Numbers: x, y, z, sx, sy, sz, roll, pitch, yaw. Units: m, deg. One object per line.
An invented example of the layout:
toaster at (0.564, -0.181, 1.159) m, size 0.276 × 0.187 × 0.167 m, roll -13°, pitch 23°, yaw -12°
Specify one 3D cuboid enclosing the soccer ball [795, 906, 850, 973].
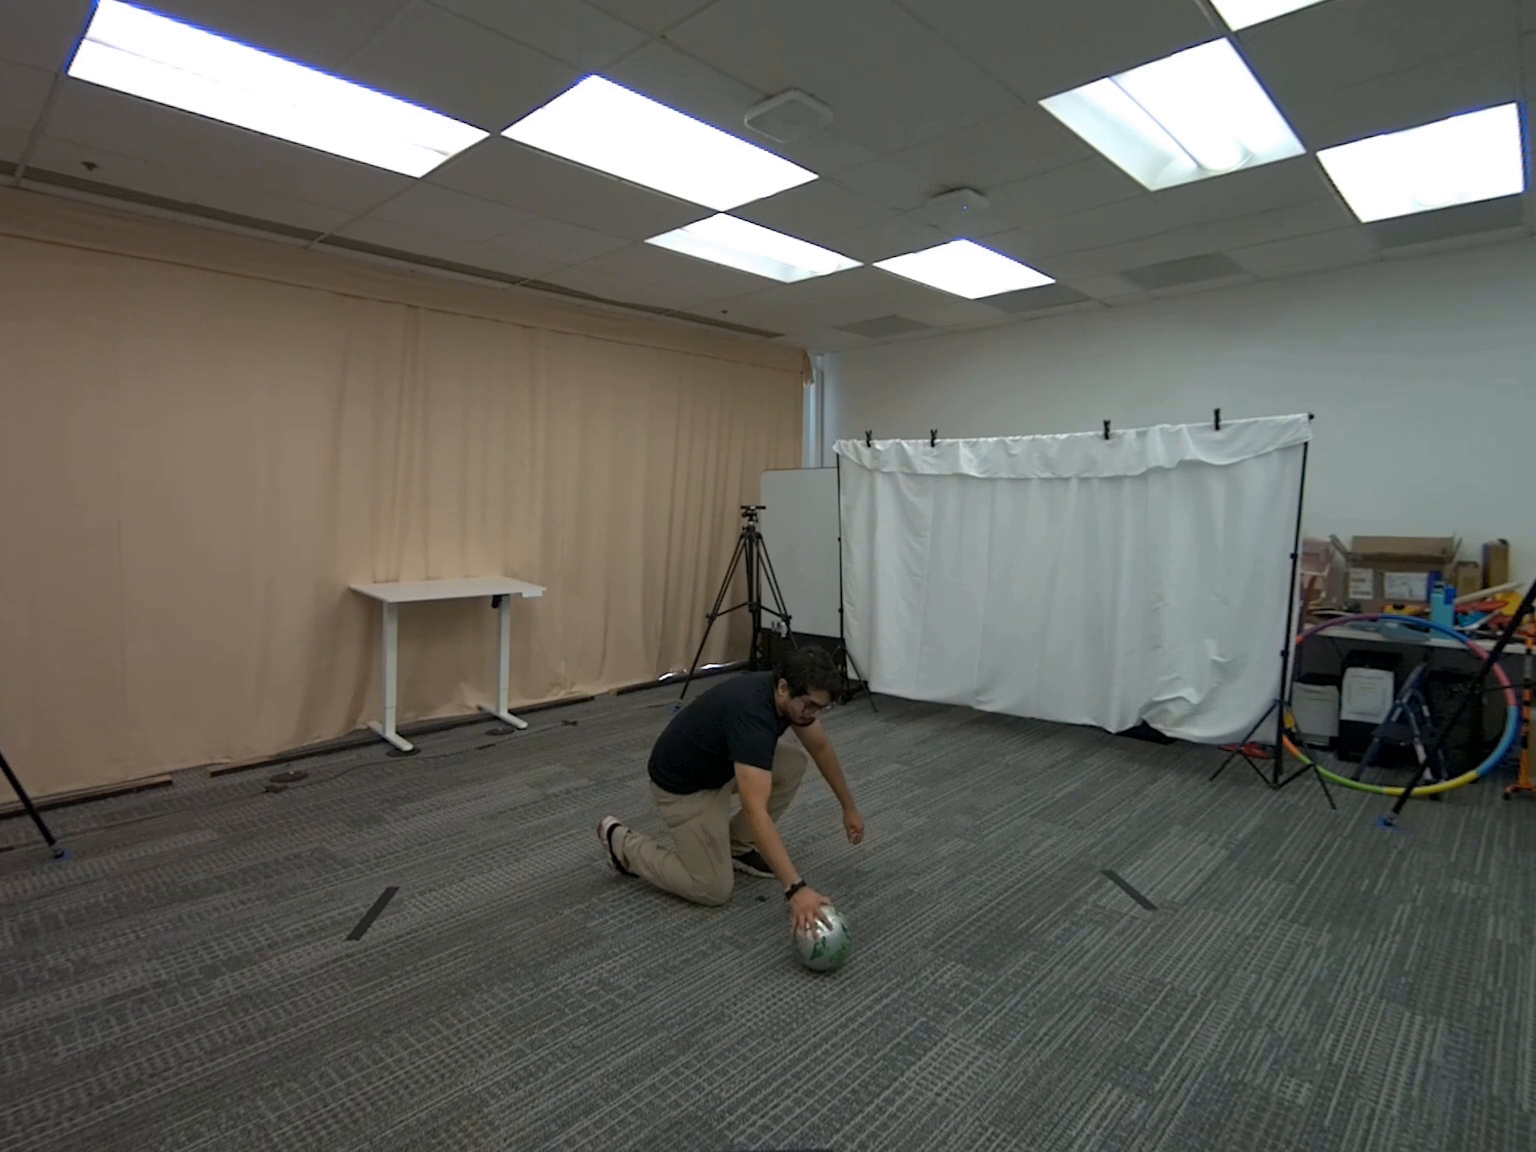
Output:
soccer ball at (0.160, 1.086, 2.538) m, size 0.187 × 0.187 × 0.188 m, roll 0°, pitch 4°, yaw -2°
